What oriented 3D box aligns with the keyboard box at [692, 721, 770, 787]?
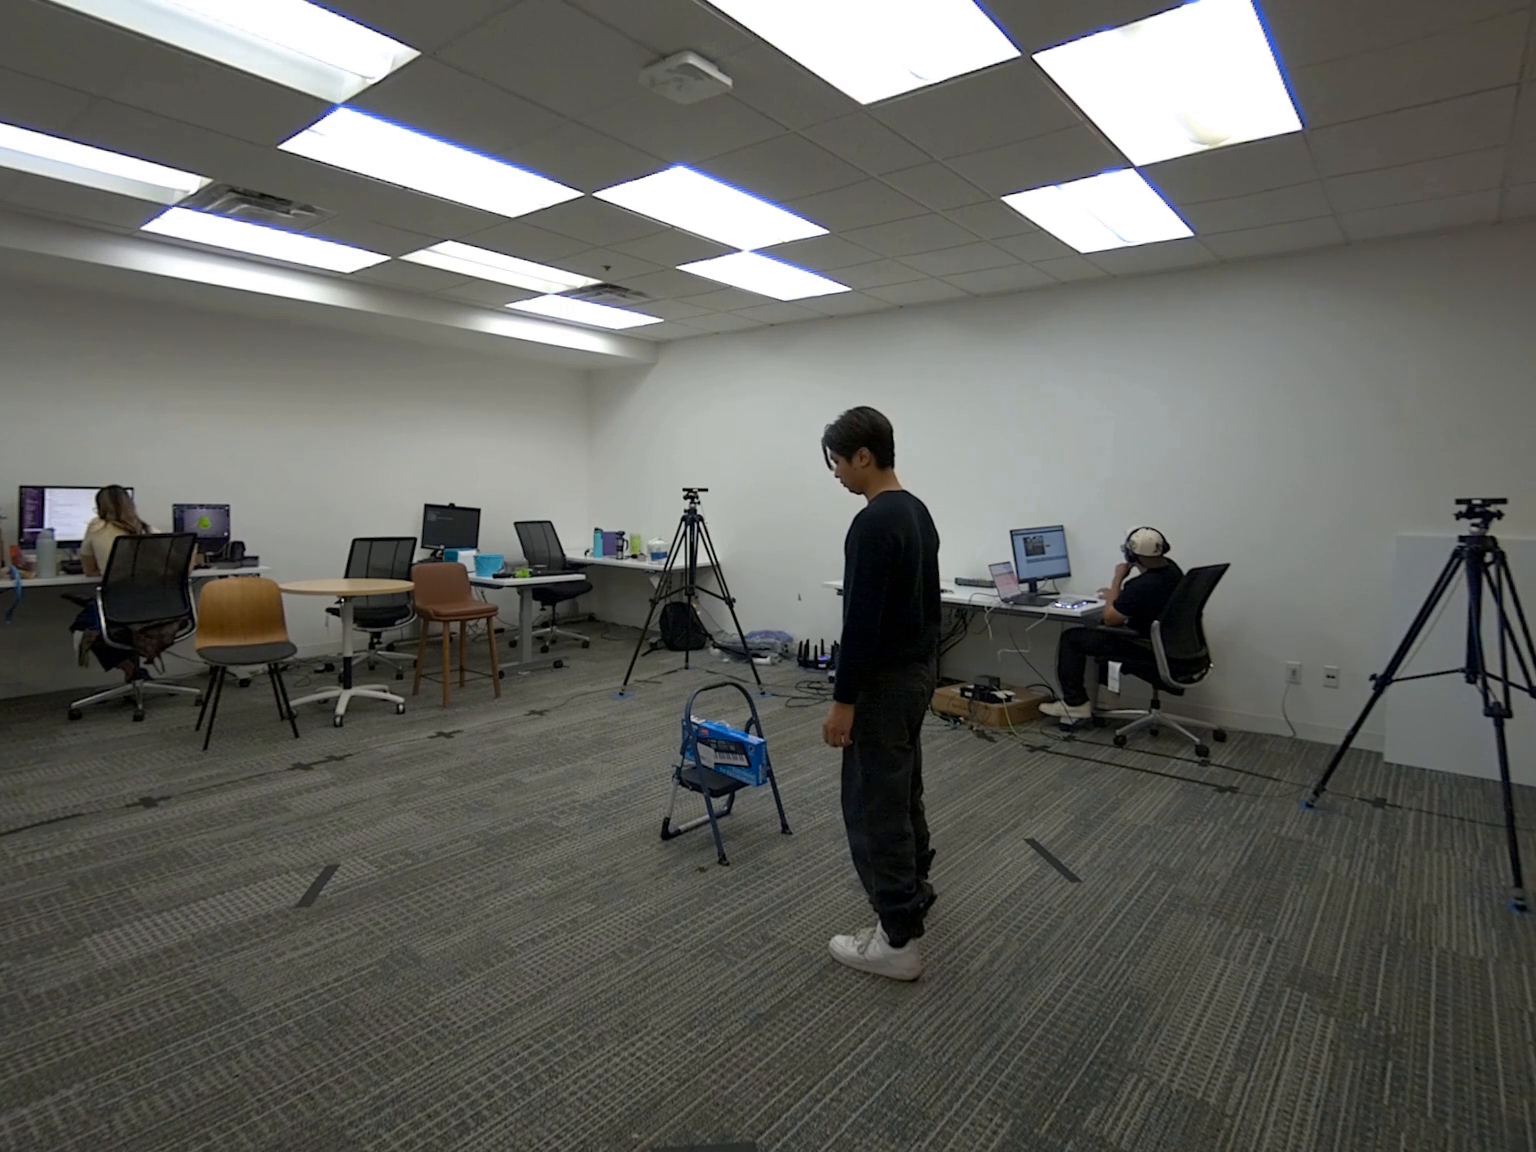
[{"bbox_3d":[-0.194,0.691,3.401,0.452,0.175,0.057,8,10,44],"label":"keyboard box"}]
